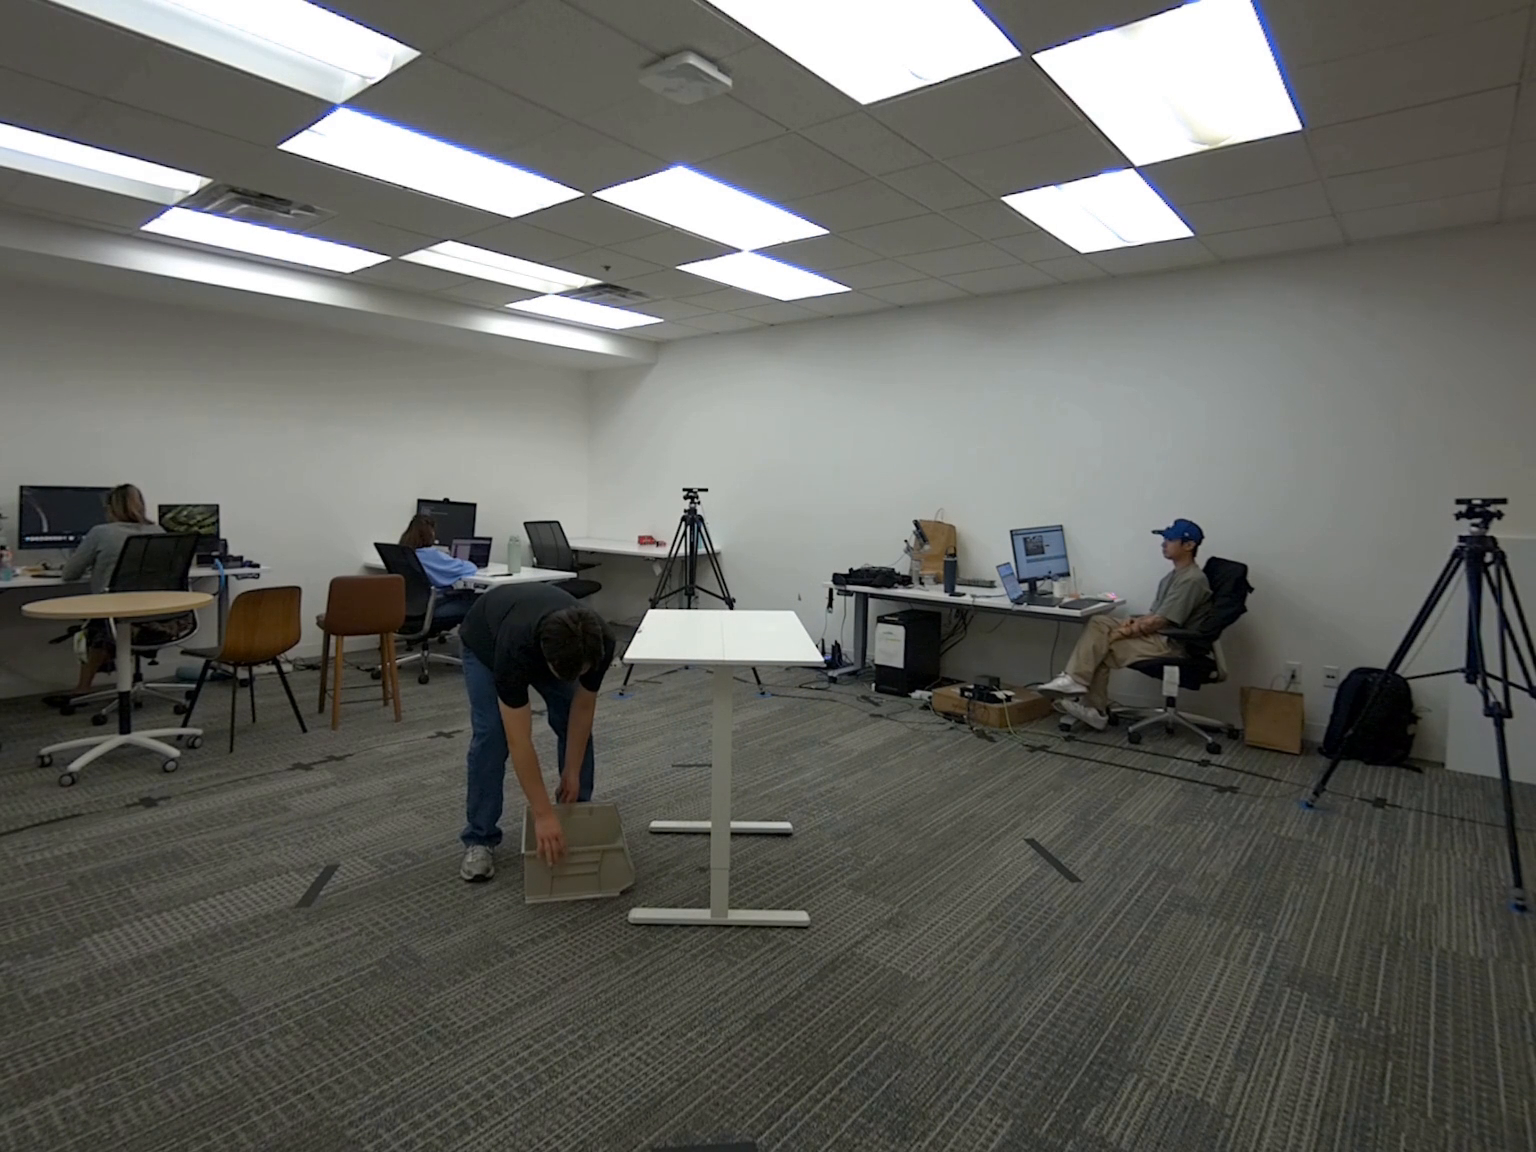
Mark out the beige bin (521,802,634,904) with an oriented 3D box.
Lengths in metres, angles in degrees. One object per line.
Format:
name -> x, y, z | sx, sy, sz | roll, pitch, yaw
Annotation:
beige bin -> -0.692, 0.980, 3.053 | 0.372, 0.188, 0.430 | 0, 5, -13
